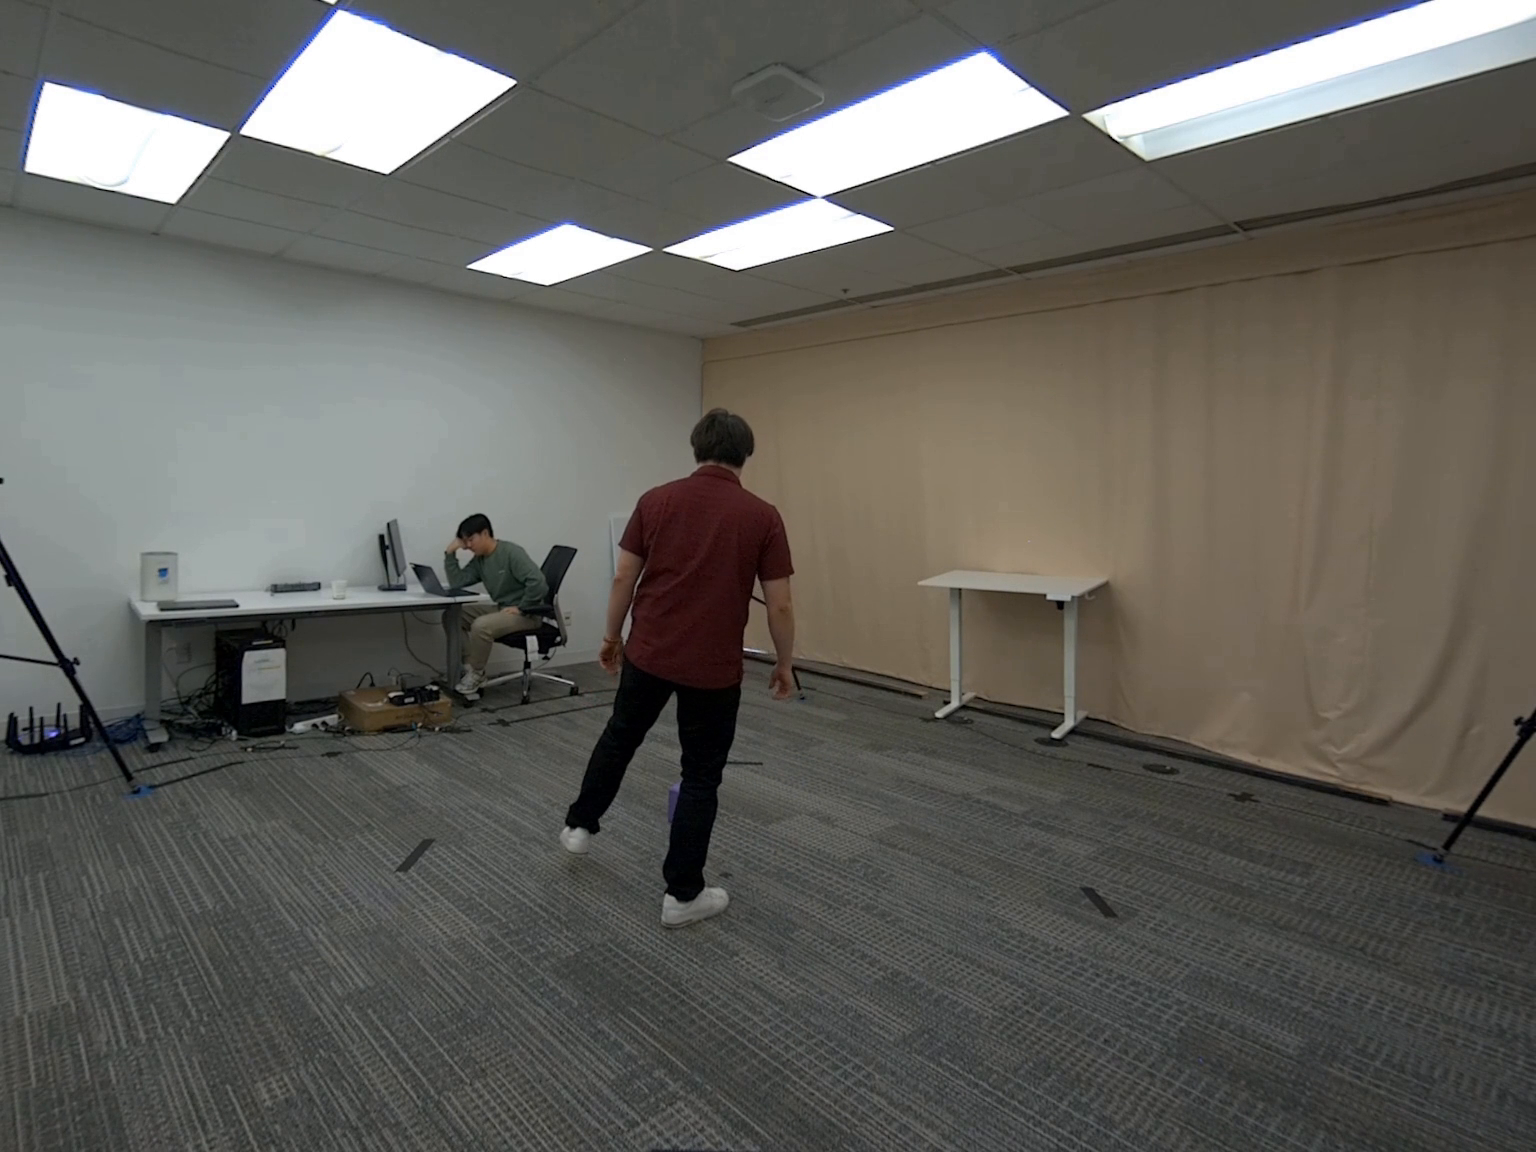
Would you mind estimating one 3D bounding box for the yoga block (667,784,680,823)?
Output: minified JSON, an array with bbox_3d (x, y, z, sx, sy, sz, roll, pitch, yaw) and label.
[{"bbox_3d":[-0.355,0.980,3.680,0.078,0.148,0.225,4,5,26],"label":"yoga block"}]
